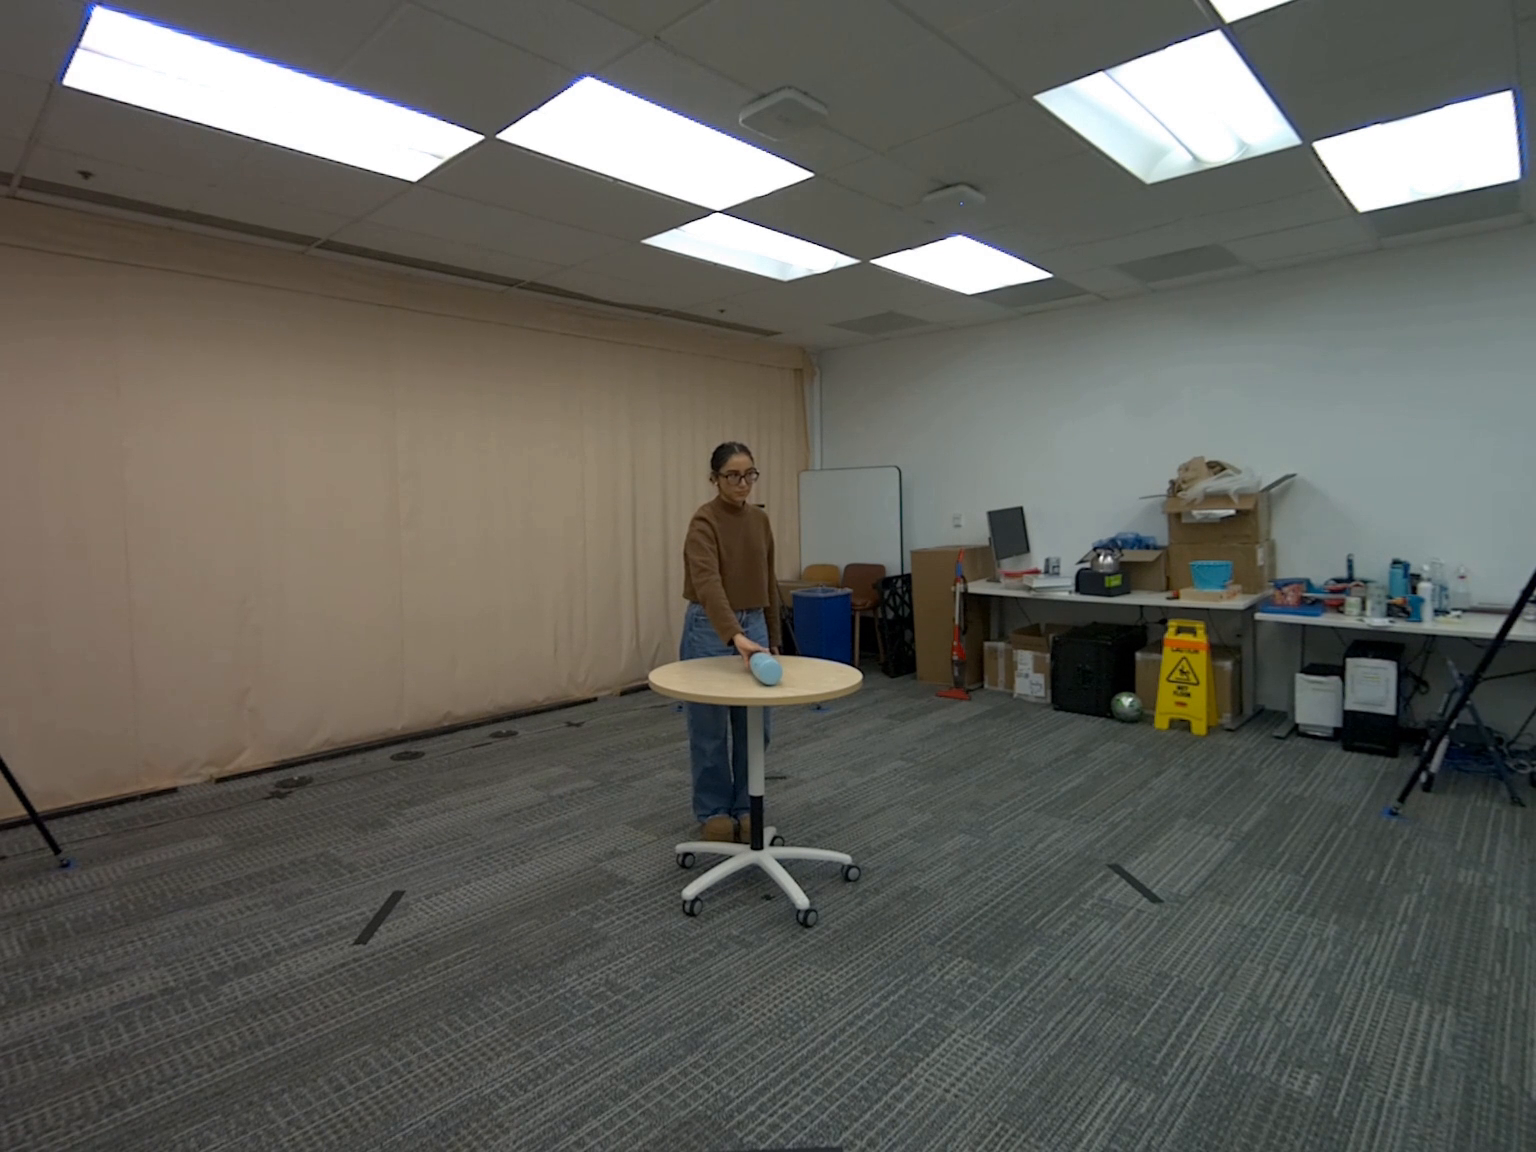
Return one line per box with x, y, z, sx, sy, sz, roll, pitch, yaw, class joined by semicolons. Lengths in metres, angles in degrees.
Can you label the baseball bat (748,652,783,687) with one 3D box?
-0.034;0.315;3.073;0.088;0.089;0.547;-1;2;-8;baseball bat
